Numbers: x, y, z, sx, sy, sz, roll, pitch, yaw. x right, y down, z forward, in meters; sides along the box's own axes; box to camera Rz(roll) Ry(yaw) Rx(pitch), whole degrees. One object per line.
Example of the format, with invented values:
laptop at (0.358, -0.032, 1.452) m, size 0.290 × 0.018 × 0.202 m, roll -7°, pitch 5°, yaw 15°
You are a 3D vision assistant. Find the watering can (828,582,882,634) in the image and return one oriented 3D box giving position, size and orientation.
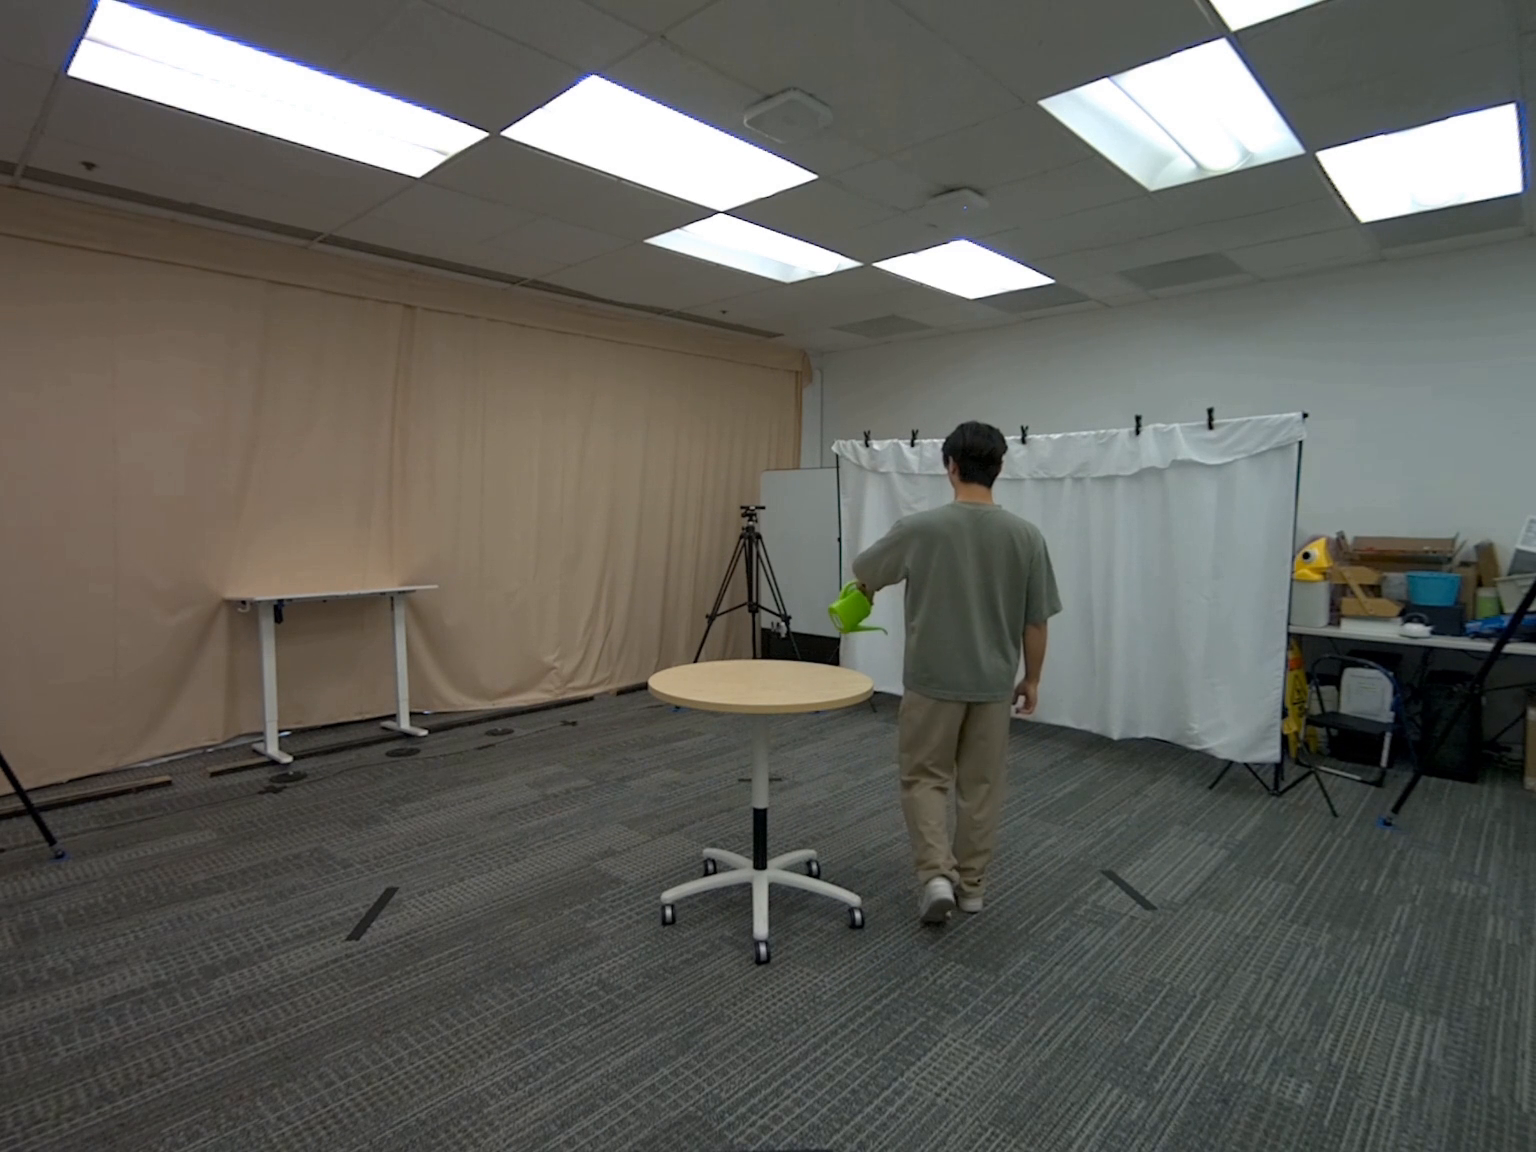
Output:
watering can at (0.356, 0.160, 3.262) m, size 0.175 × 0.277 × 0.099 m, roll -36°, pitch 4°, yaw -20°
